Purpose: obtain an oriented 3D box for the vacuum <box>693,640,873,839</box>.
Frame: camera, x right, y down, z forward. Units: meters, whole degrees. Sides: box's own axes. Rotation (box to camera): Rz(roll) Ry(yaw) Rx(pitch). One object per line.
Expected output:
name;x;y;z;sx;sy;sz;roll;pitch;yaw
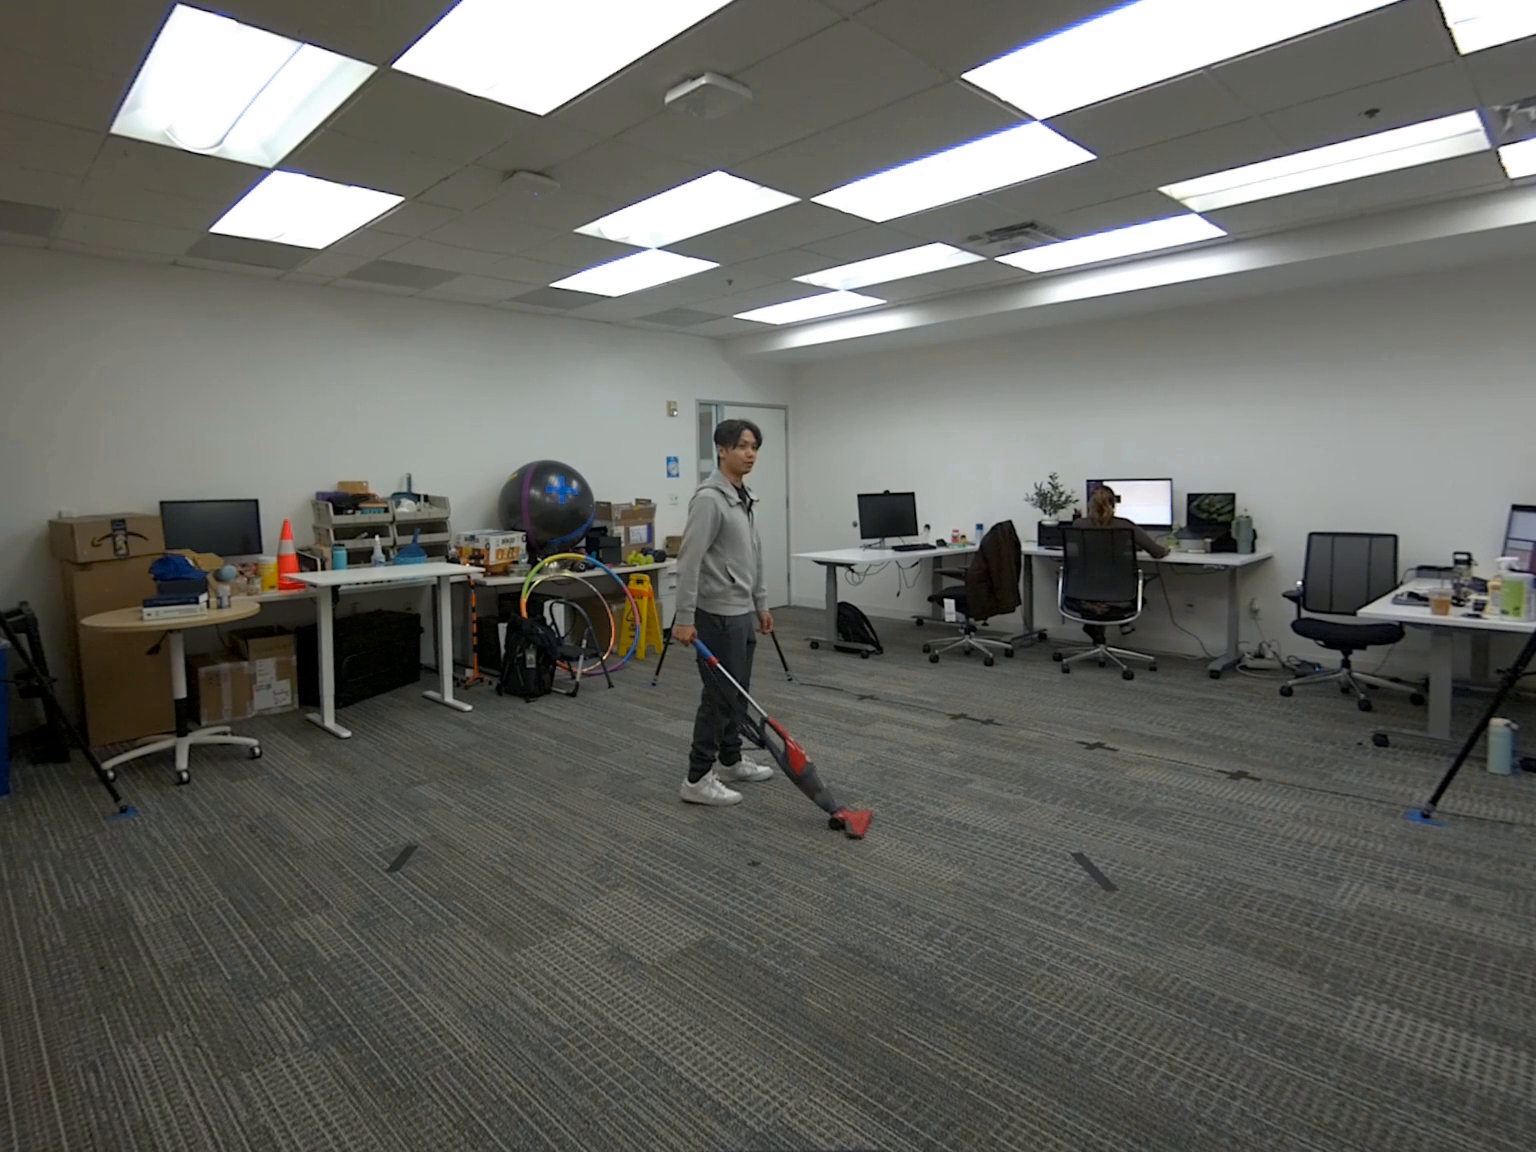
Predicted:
vacuum;-0.011;0.621;3.535;1.066;0.144;0.249;46;15;11
